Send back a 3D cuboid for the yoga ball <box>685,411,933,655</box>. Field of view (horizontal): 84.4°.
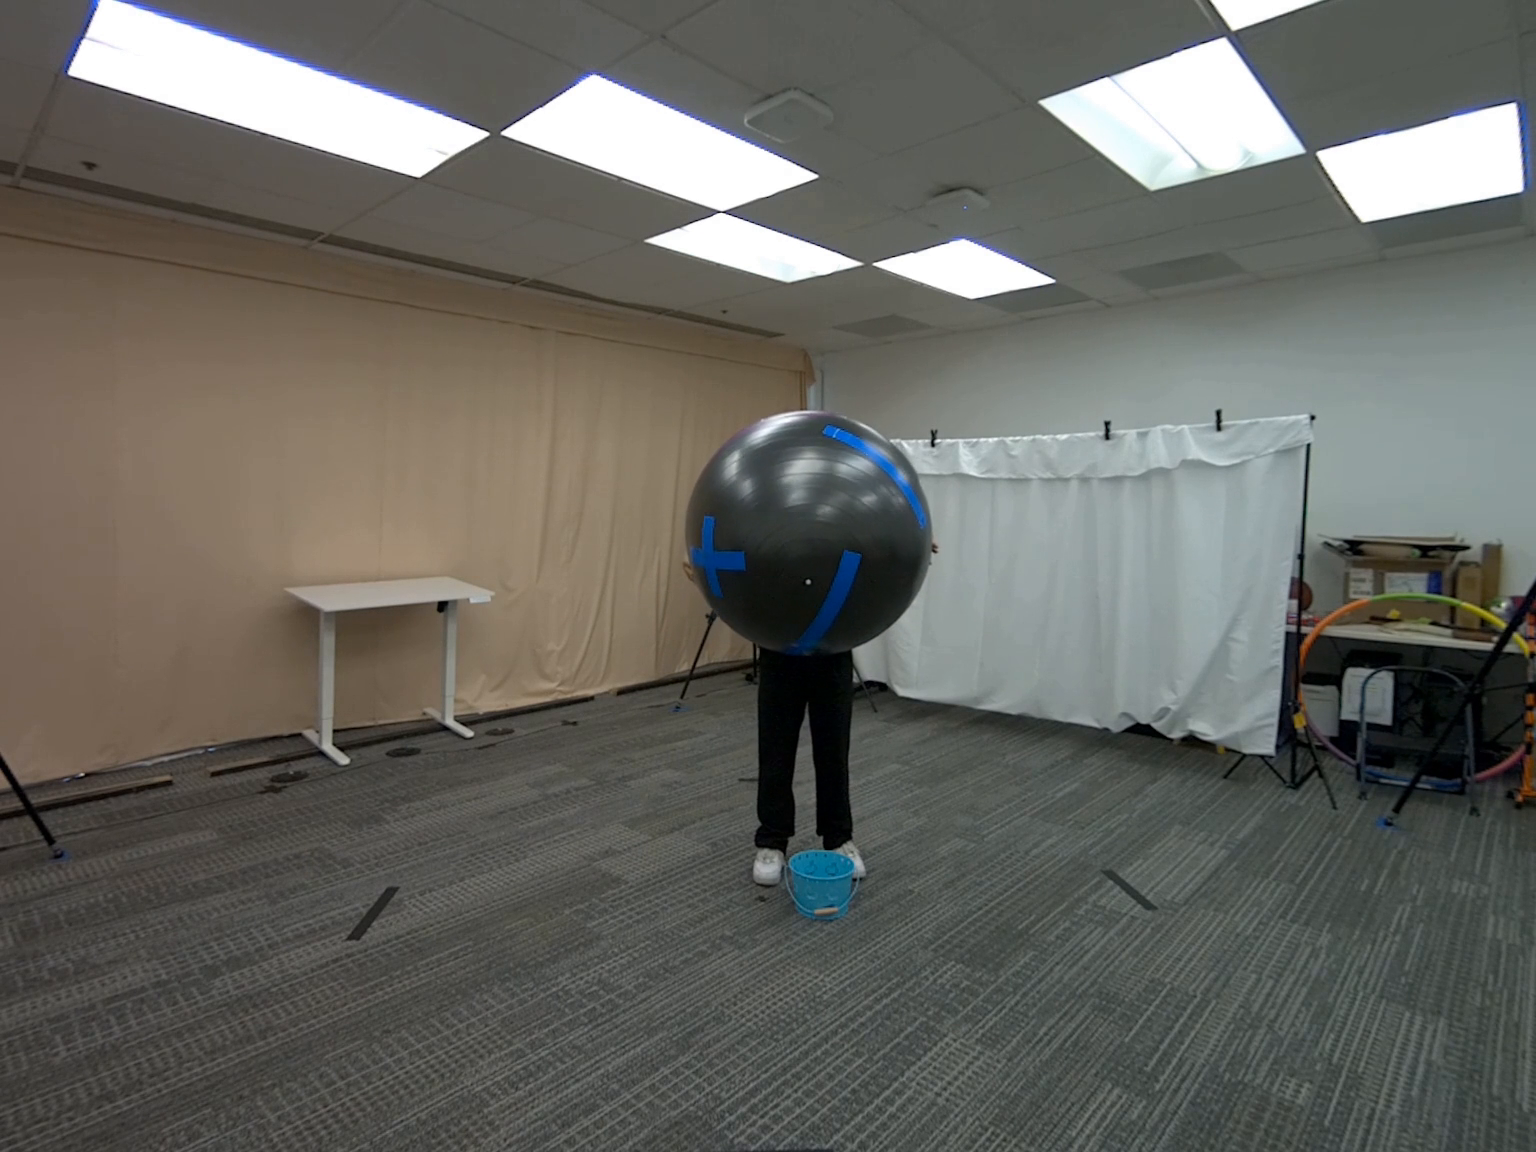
[{"bbox_3d":[0.122,-0.122,2.624,0.757,0.756,0.761,0,4,-2],"label":"yoga ball"}]
